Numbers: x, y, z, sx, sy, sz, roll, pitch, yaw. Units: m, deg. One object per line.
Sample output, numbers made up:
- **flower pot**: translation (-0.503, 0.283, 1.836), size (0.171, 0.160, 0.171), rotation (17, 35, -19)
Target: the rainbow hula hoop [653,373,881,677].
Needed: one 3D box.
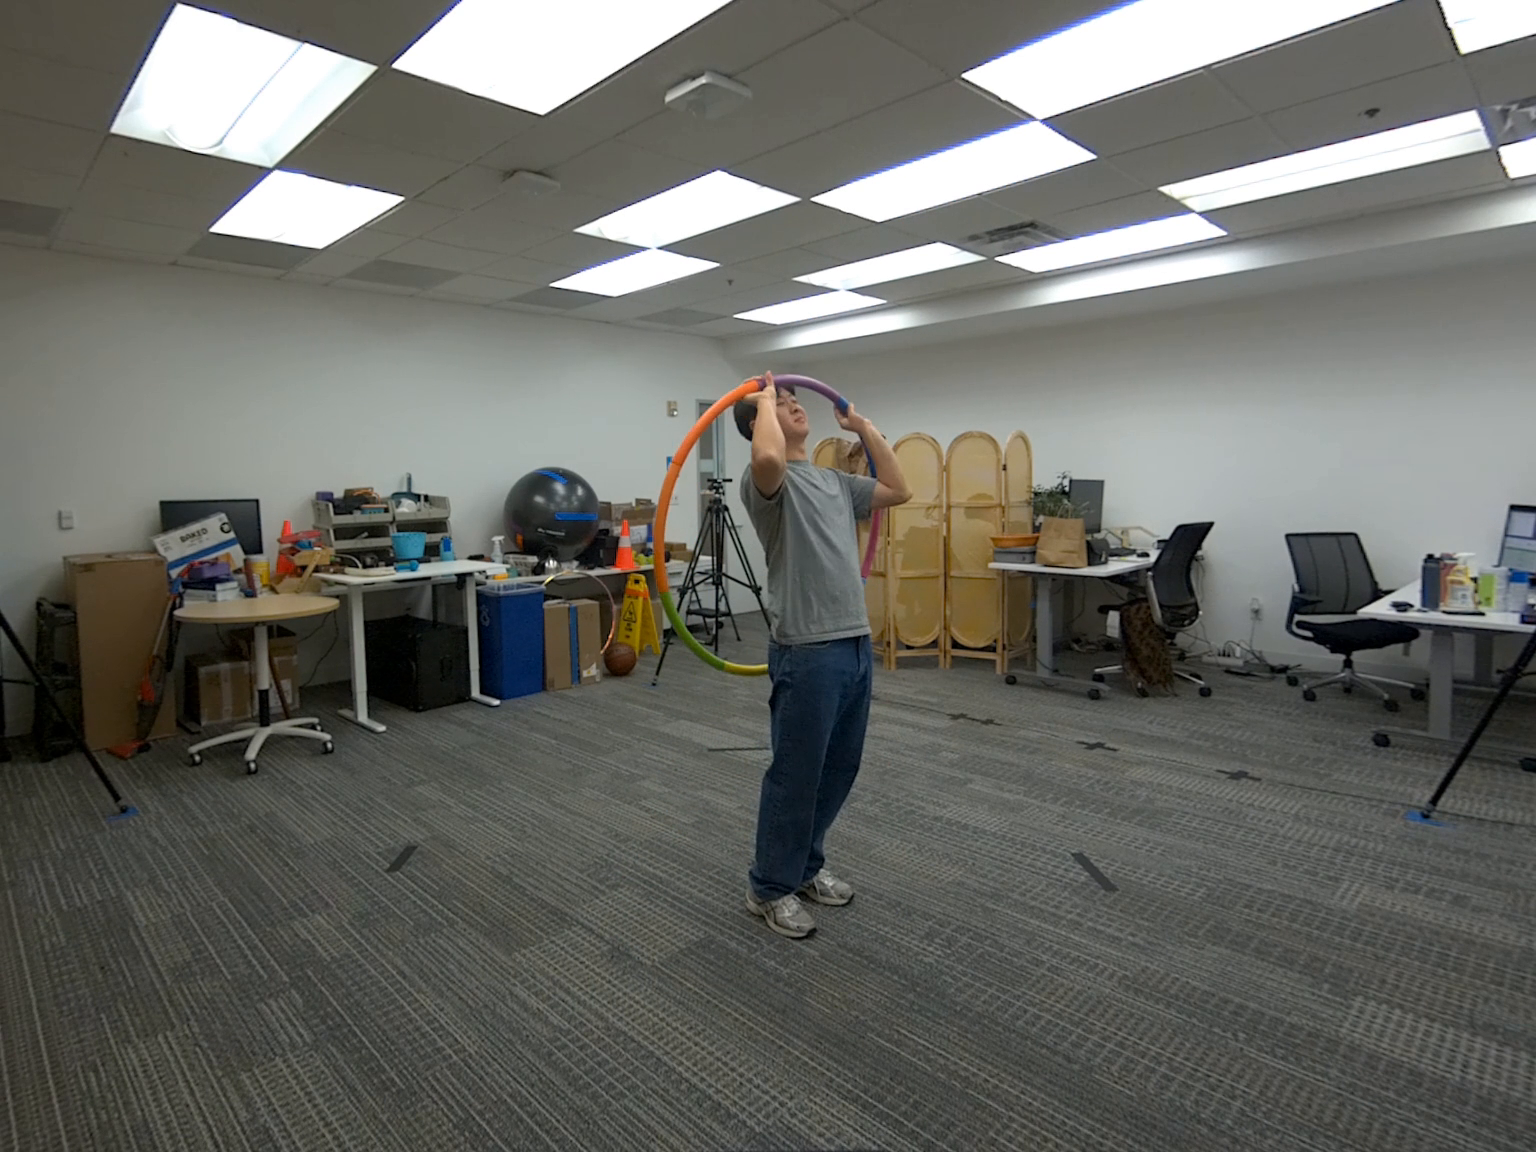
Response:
- **rainbow hula hoop**: translation (0.039, -0.157, 2.764), size (0.953, 0.970, 0.037), rotation (-5, 14, -42)
